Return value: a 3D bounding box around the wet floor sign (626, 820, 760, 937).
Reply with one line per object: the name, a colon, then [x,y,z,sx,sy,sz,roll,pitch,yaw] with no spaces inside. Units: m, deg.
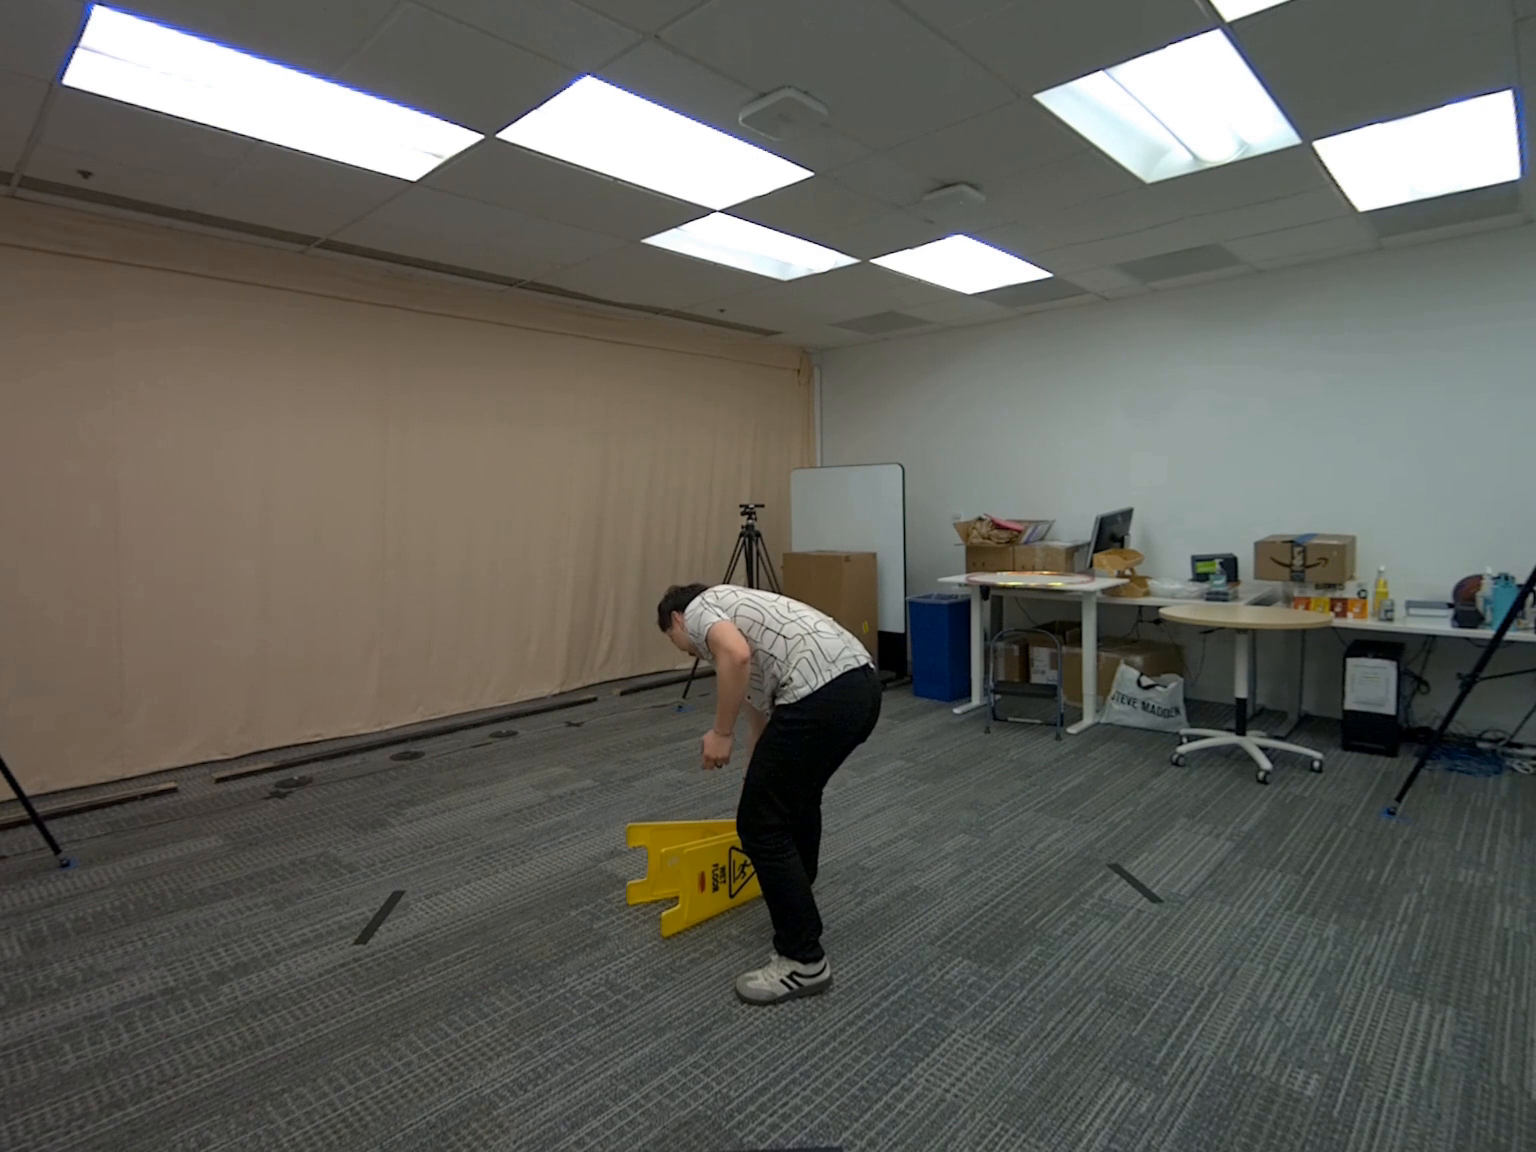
wet floor sign: [-0.147,1.011,2.988,0.628,0.282,0.298,-1,1,-30]
